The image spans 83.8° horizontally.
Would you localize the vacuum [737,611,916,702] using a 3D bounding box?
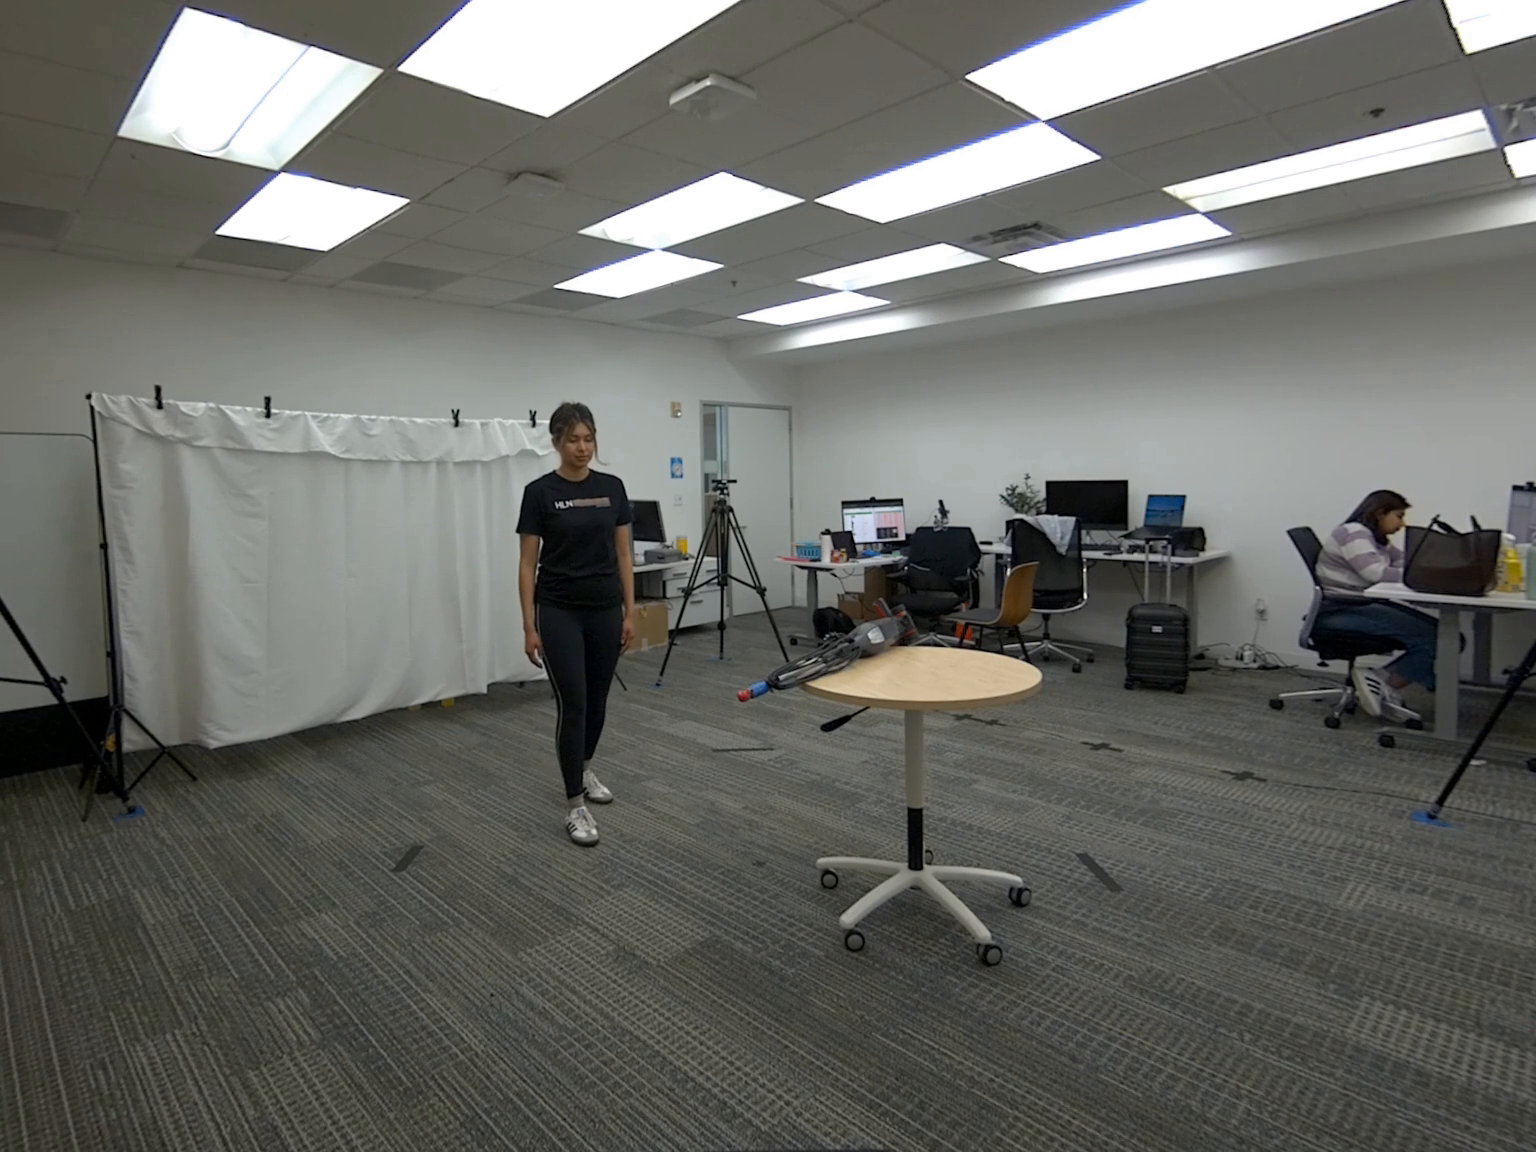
[{"bbox_3d":[0.211,0.267,2.776,0.145,0.257,1.026,-37,-14,32],"label":"vacuum"}]
